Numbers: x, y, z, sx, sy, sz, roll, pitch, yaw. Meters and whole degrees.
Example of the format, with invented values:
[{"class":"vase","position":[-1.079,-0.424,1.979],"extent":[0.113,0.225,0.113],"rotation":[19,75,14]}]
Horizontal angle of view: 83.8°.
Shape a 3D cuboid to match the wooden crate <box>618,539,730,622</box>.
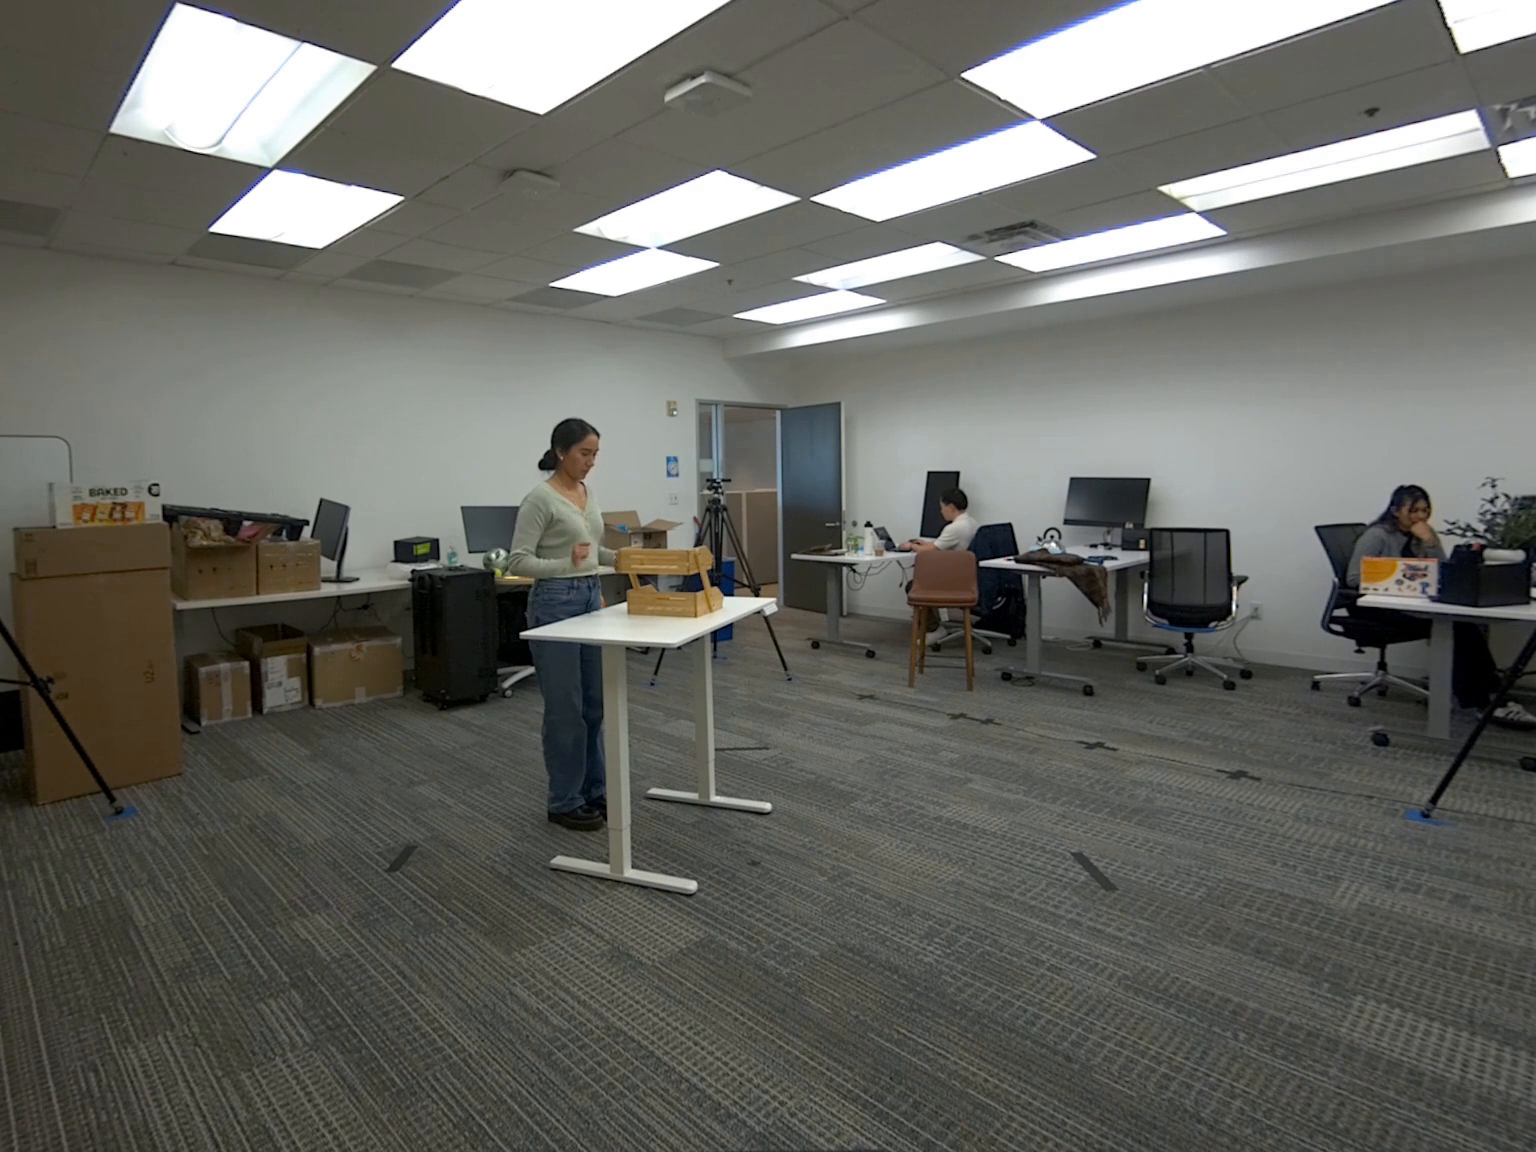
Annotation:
[{"class":"wooden crate","position":[-0.361,0.006,3.332],"extent":[0.331,0.272,0.297],"rotation":[1,6,22]}]
